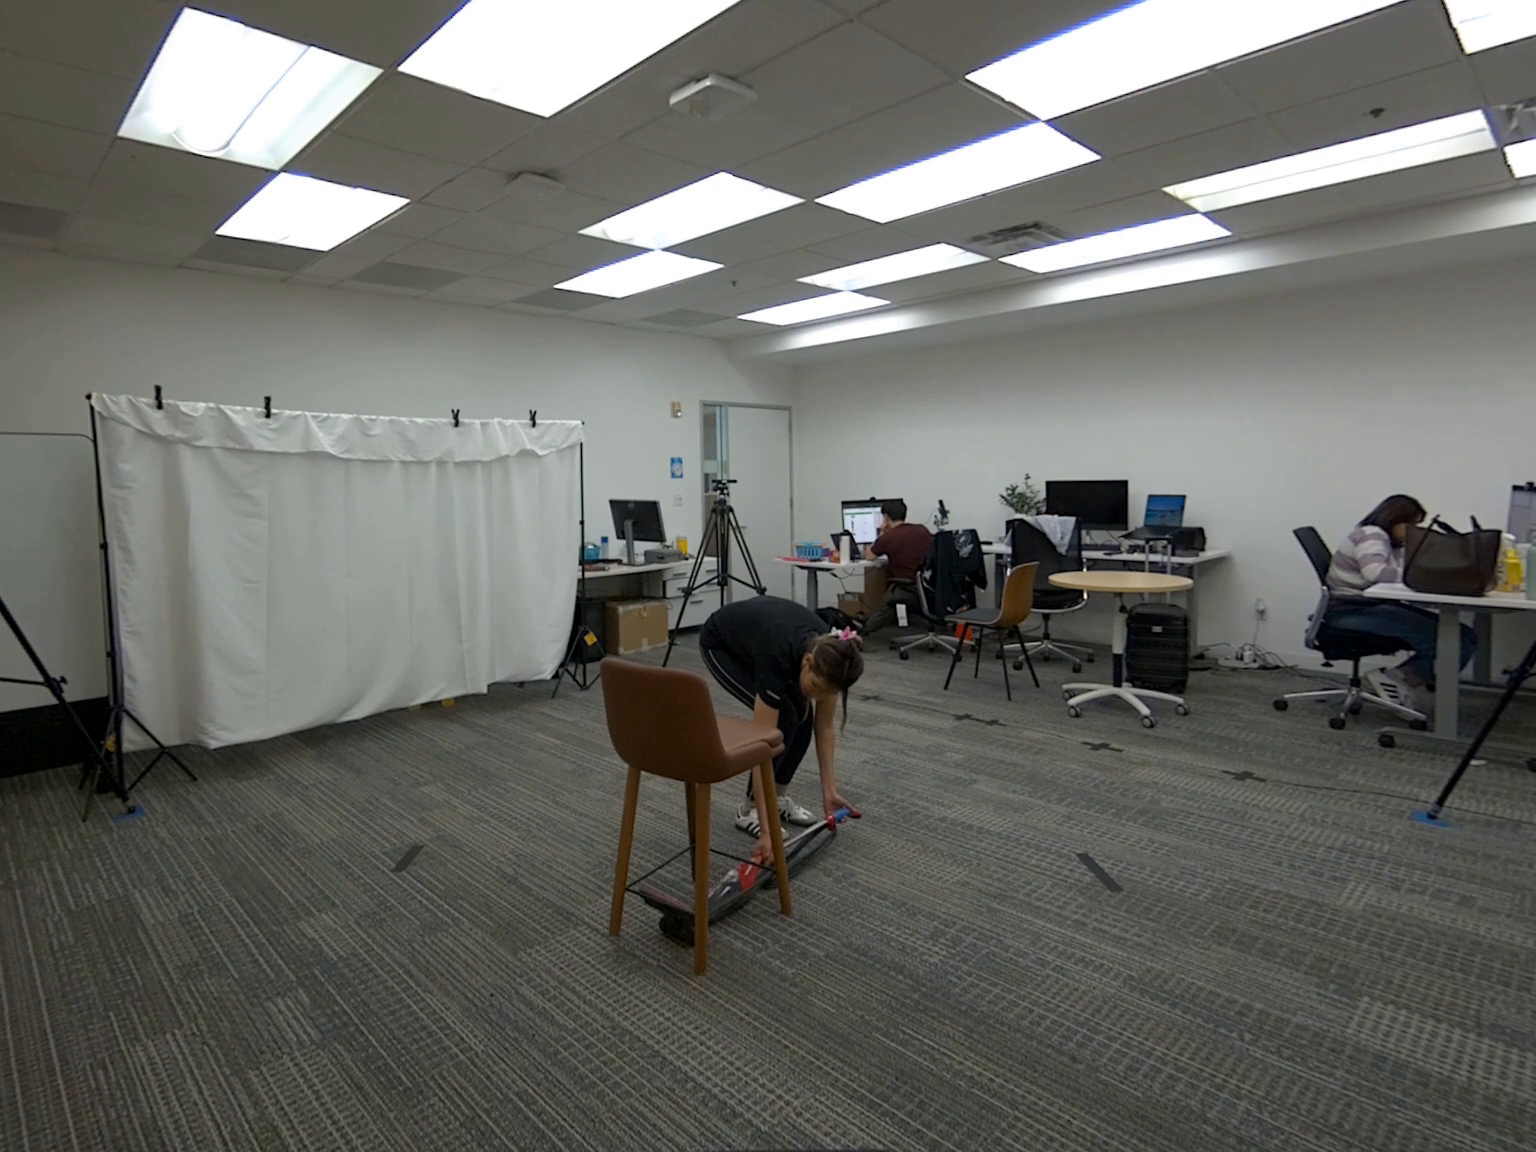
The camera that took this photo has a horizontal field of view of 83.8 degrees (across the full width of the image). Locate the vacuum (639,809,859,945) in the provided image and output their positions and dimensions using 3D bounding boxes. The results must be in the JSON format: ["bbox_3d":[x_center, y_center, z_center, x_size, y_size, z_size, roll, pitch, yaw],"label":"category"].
[{"bbox_3d":[0.040,1.007,2.983,0.260,0.143,1.023,3,7,39],"label":"vacuum"}]
